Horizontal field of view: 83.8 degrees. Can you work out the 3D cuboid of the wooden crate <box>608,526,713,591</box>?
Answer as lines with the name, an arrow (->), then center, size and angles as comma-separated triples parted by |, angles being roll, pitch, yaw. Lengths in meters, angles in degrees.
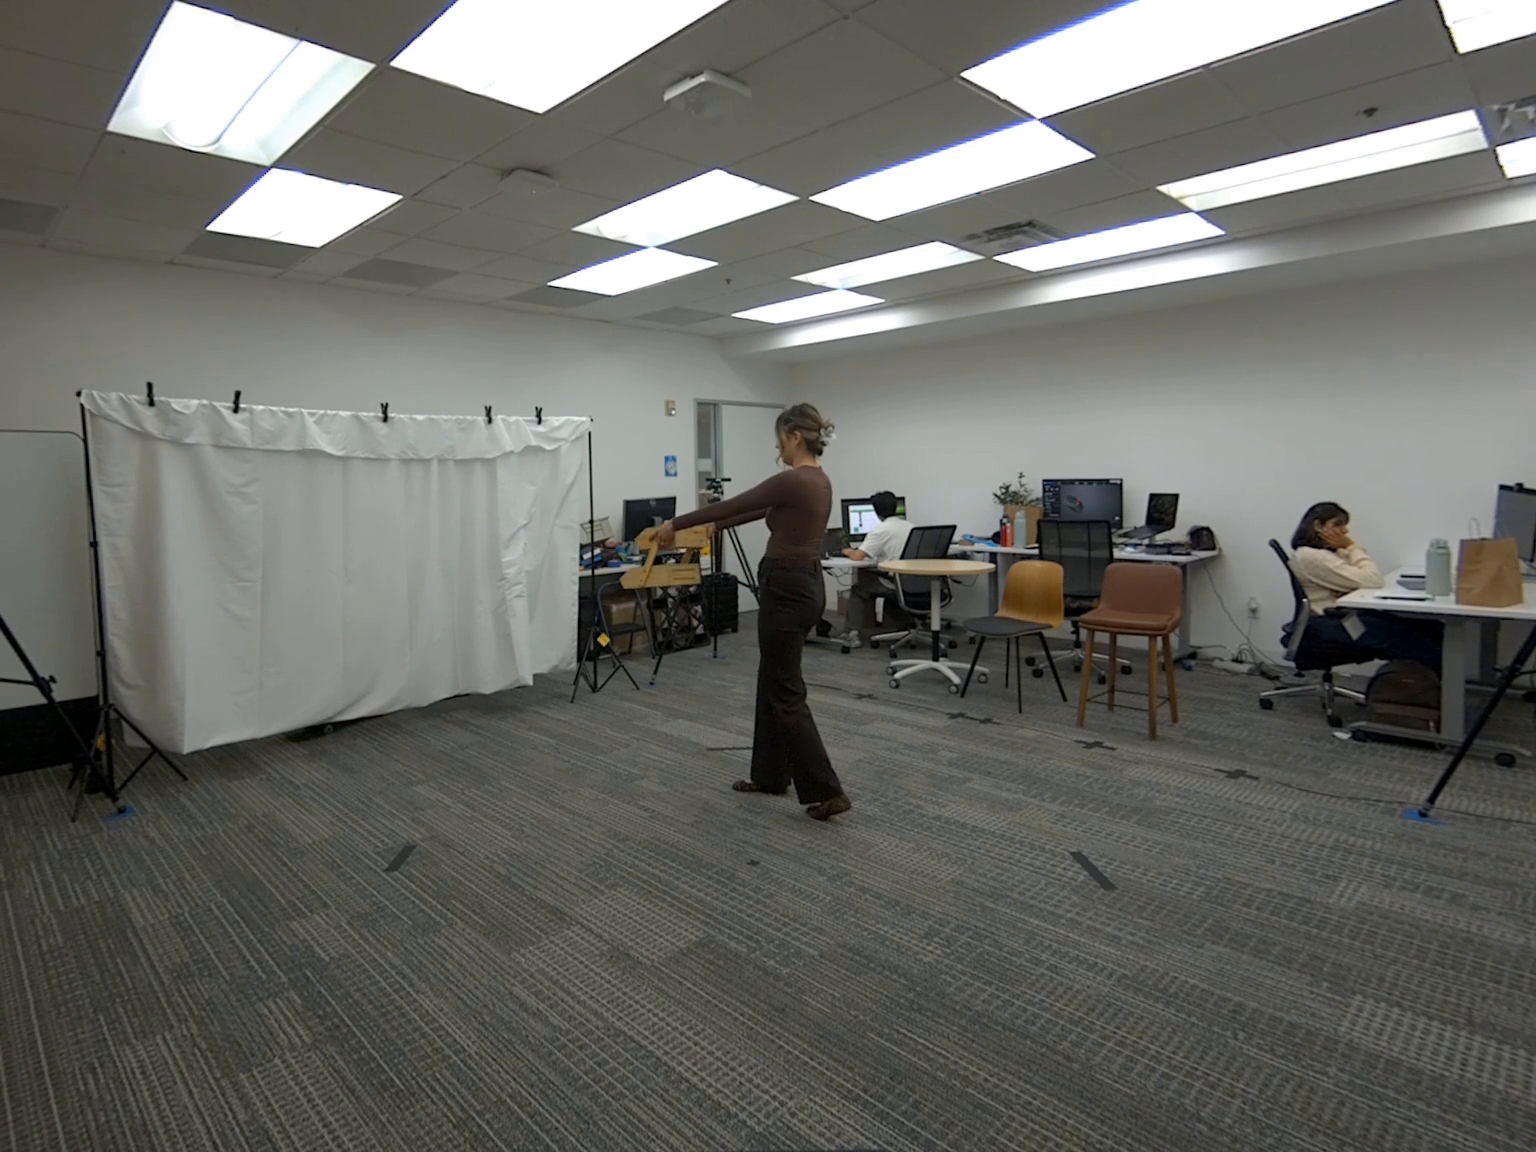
wooden crate -> -0.470, -0.090, 3.922 | 0.308, 0.273, 0.317 | -3, 0, 25
